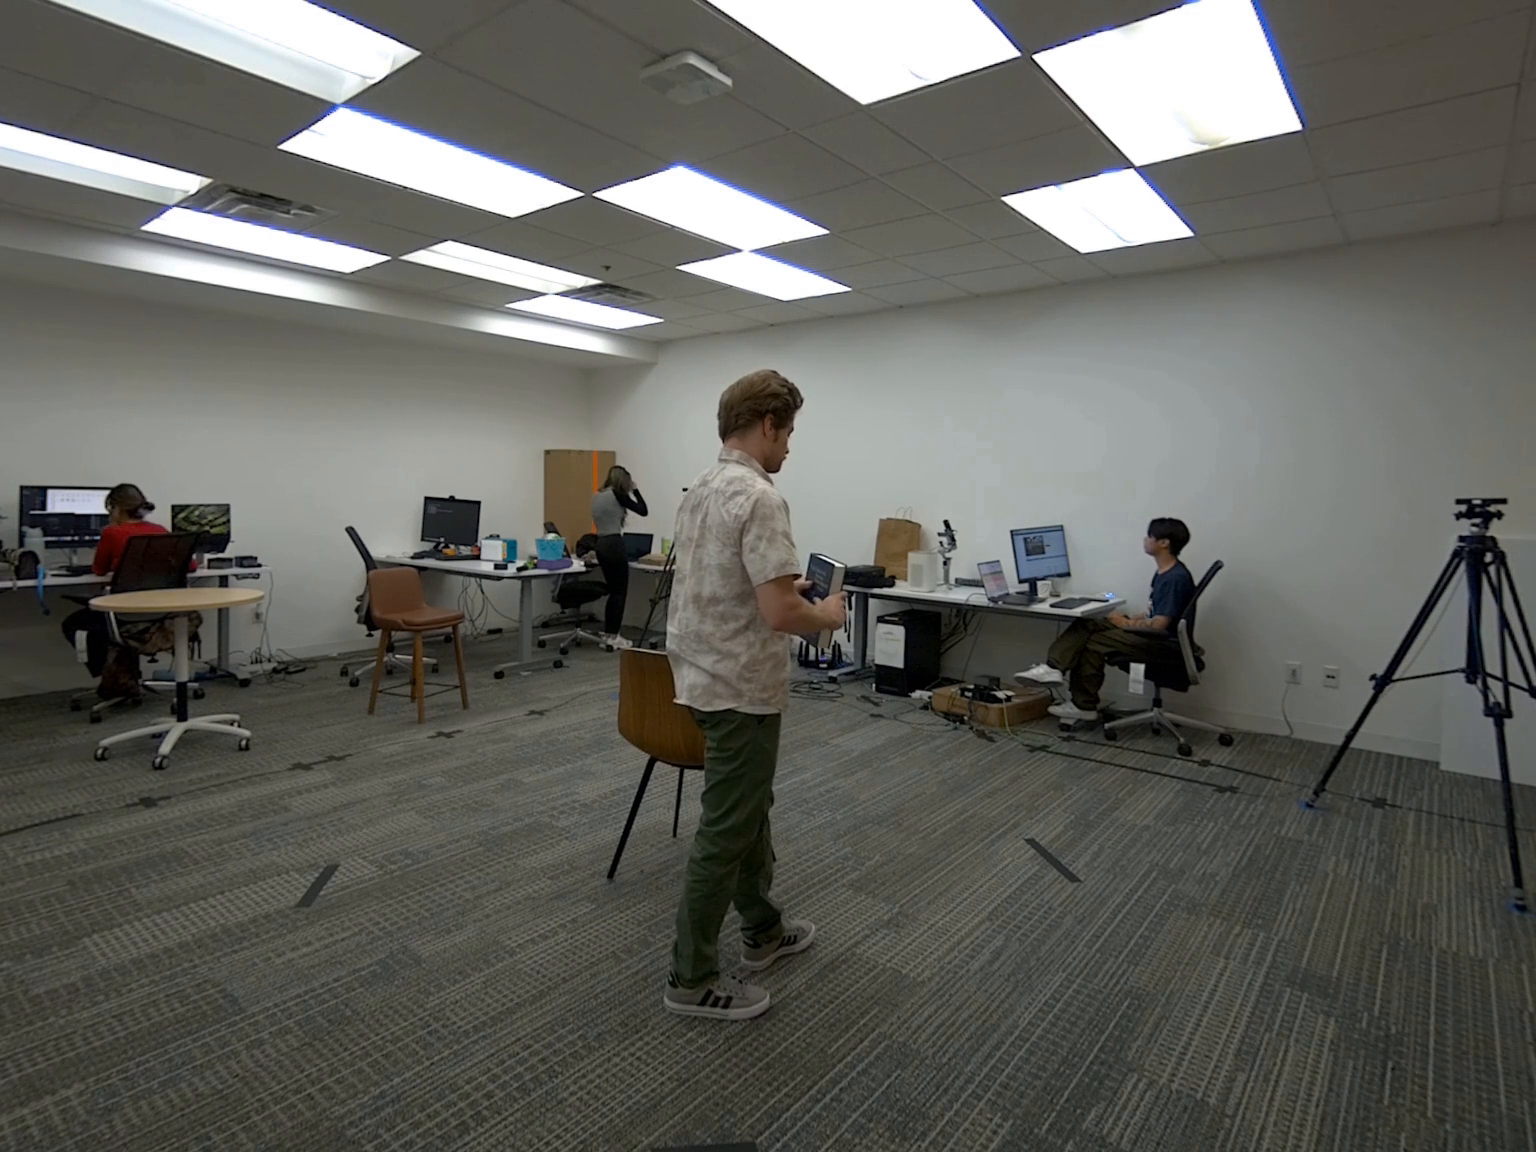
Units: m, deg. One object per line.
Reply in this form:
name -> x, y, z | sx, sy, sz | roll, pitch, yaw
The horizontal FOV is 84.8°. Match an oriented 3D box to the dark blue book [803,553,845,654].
dark blue book -> 0.144, 0.072, 2.417 | 0.044, 0.244, 0.168 | 7, 8, -21
